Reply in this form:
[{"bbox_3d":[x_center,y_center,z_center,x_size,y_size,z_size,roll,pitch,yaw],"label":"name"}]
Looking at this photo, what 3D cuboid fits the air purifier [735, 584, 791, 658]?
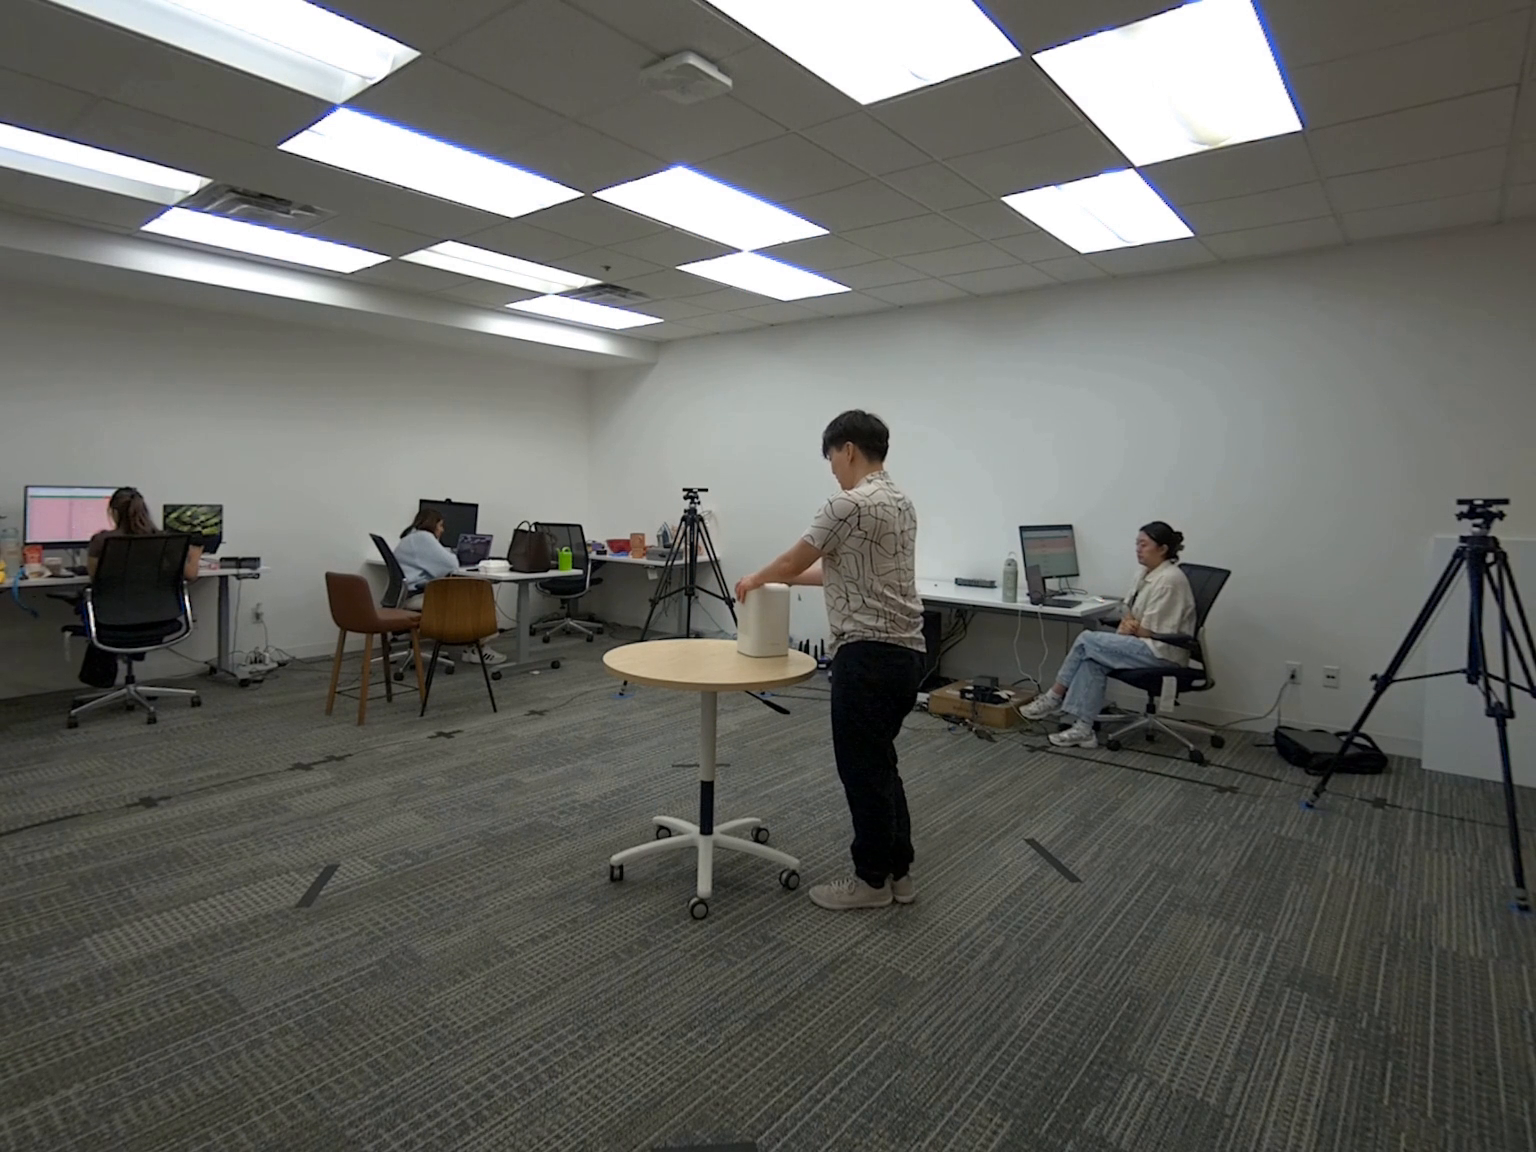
[{"bbox_3d":[-0.028,0.153,3.179,0.167,0.264,0.176,3,4,-21],"label":"air purifier"}]
